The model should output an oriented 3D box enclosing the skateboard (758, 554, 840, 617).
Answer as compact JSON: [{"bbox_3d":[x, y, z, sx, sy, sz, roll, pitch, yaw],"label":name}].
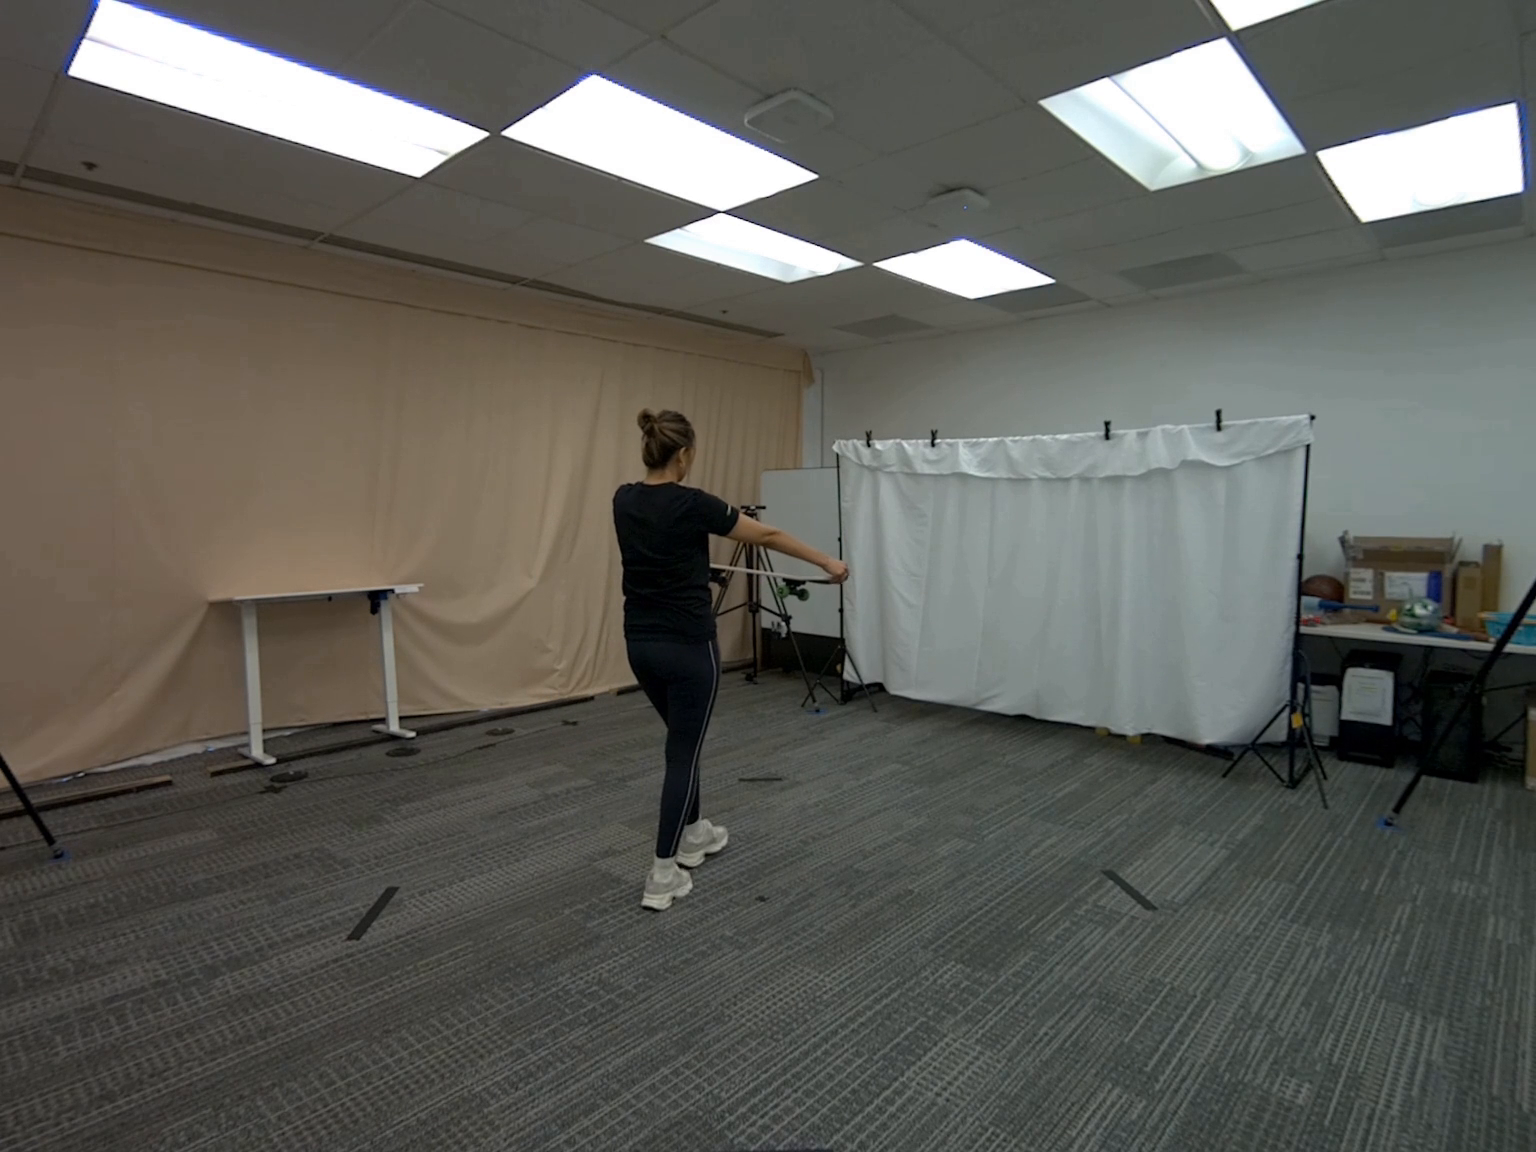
[{"bbox_3d":[-0.055,0.017,3.391,0.812,0.110,0.187,8,-1,37],"label":"skateboard"}]
